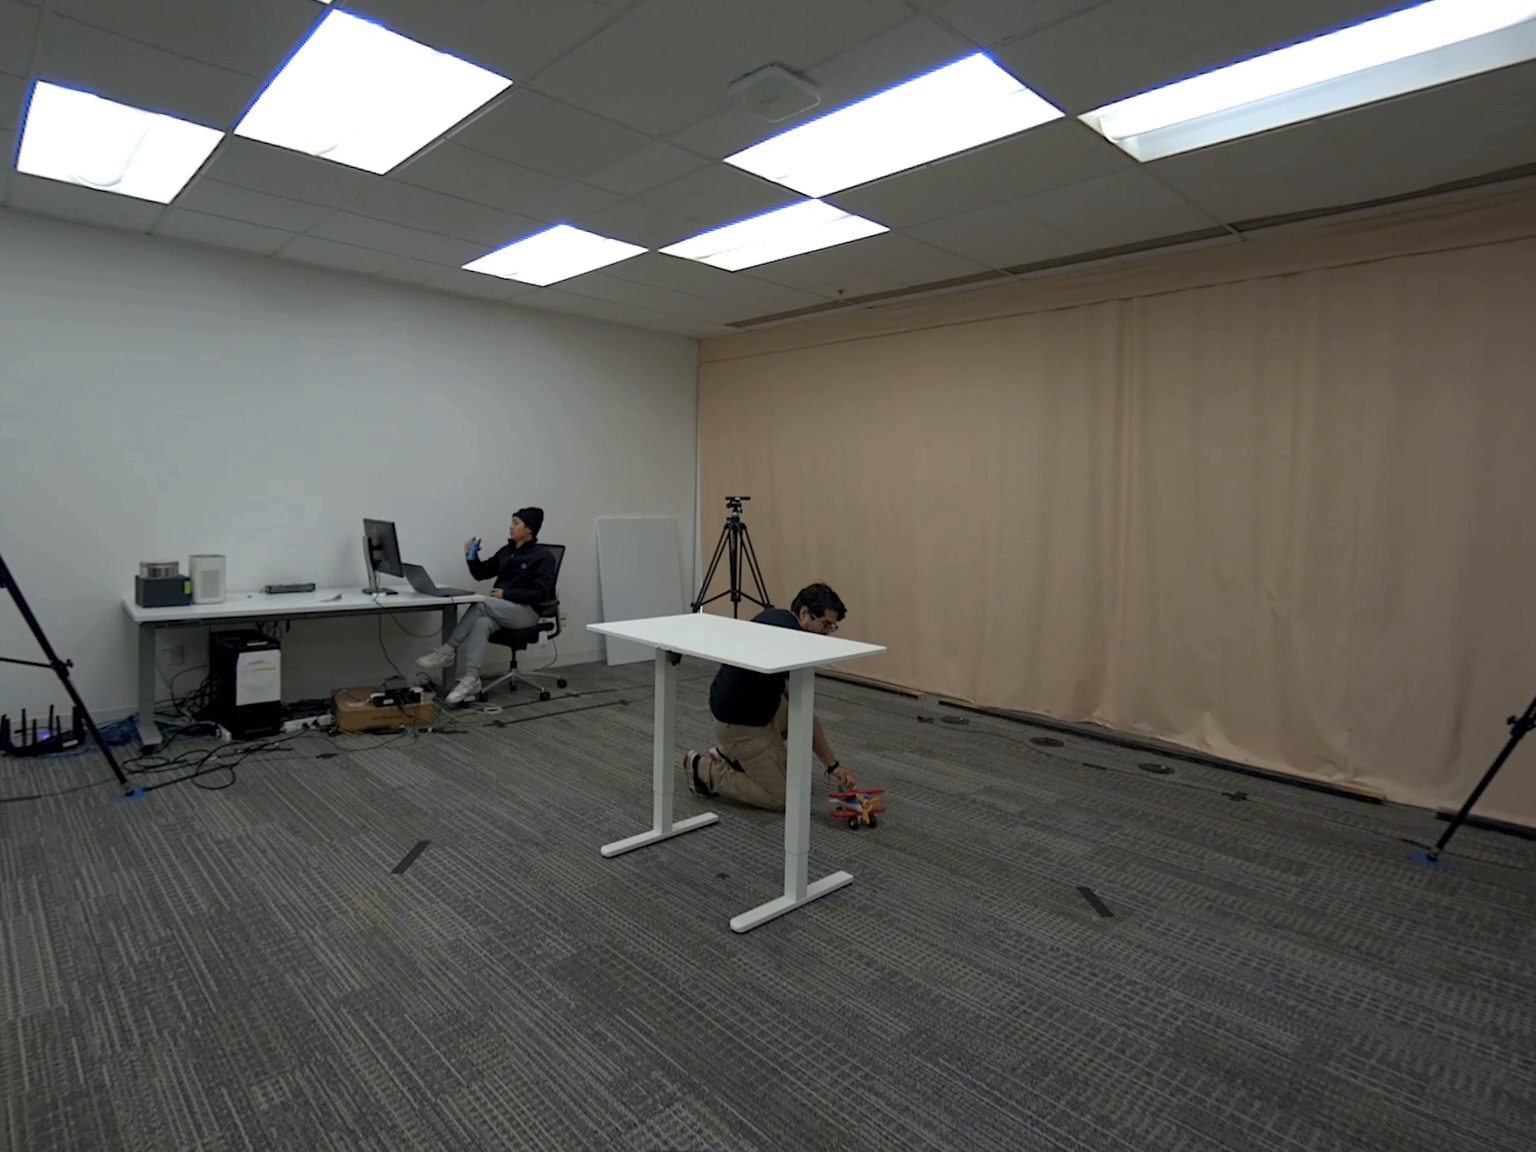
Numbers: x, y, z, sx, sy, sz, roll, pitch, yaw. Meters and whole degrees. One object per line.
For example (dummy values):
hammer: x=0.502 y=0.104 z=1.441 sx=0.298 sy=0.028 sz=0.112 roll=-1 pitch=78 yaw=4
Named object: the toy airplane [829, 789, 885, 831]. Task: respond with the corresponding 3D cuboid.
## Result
toy airplane: x=0.353 y=0.995 z=3.661 sx=0.266 sy=0.156 sz=0.245 roll=6 pitch=6 yaw=40
